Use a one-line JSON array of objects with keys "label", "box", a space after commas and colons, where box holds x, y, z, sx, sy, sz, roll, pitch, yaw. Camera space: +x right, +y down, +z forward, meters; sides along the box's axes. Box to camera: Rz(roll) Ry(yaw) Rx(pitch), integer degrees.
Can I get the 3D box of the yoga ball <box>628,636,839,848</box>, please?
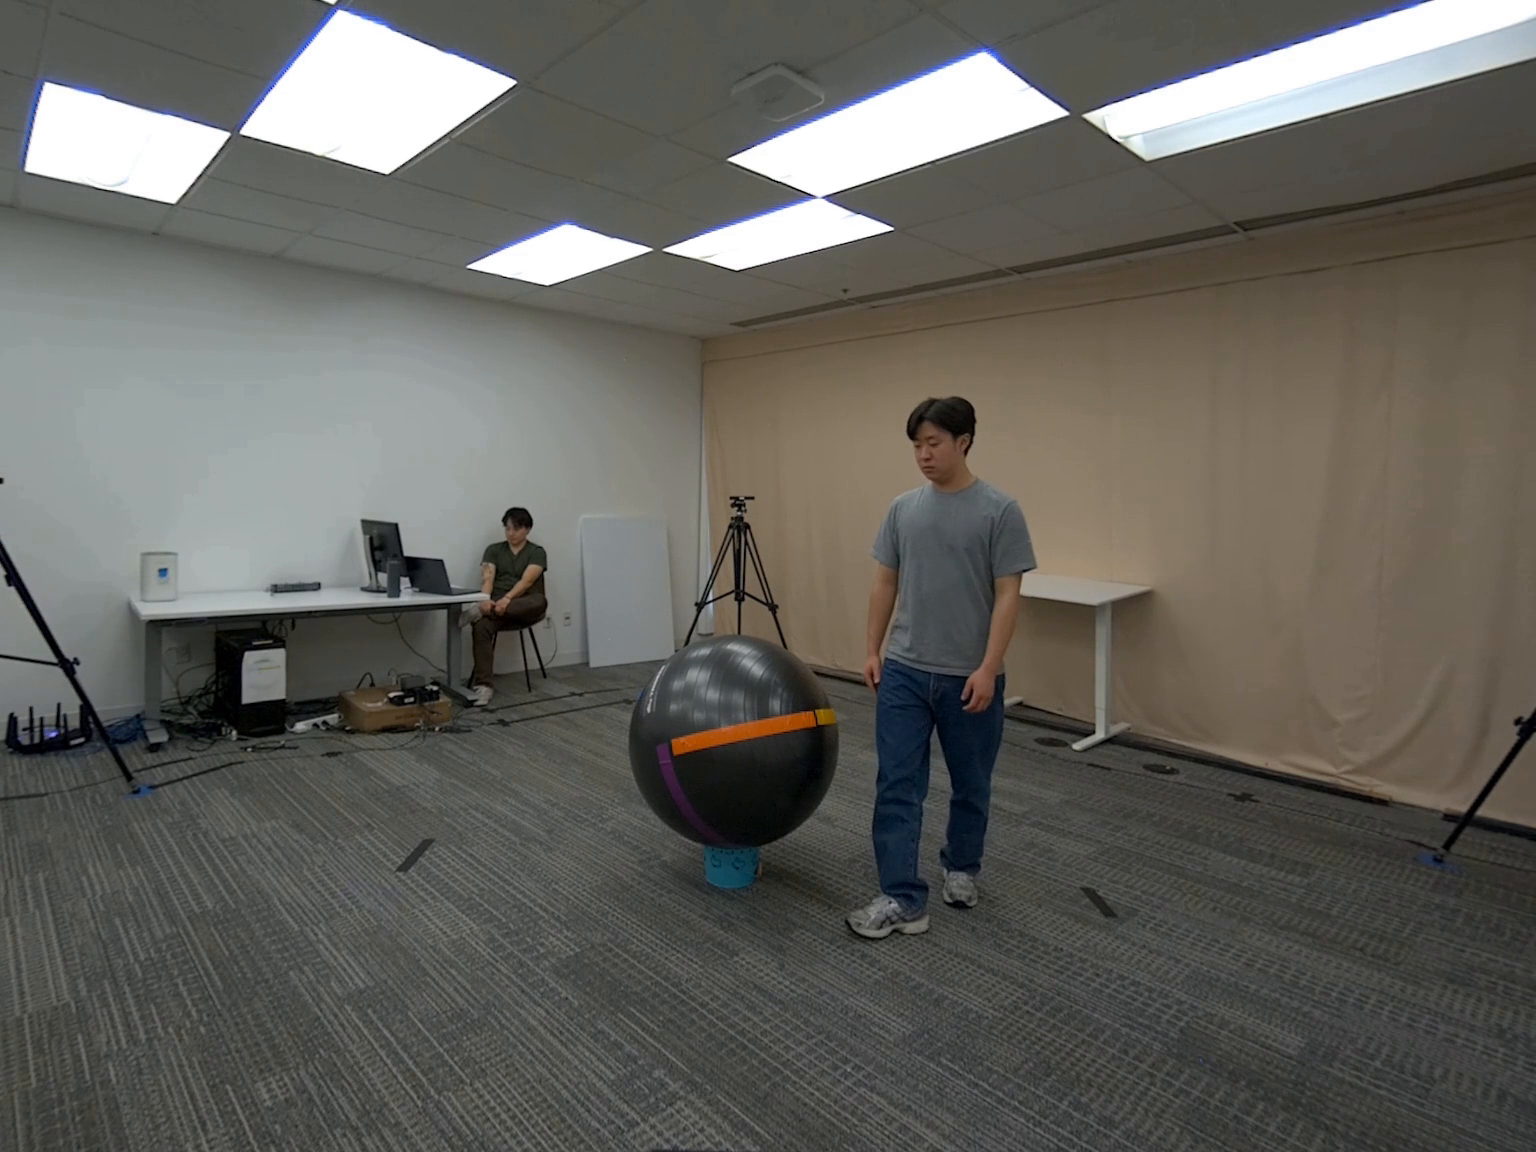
[{"label": "yoga ball", "box": [-0.131, 0.594, 3.065, 0.757, 0.756, 0.761, 1, 4, -1]}]
